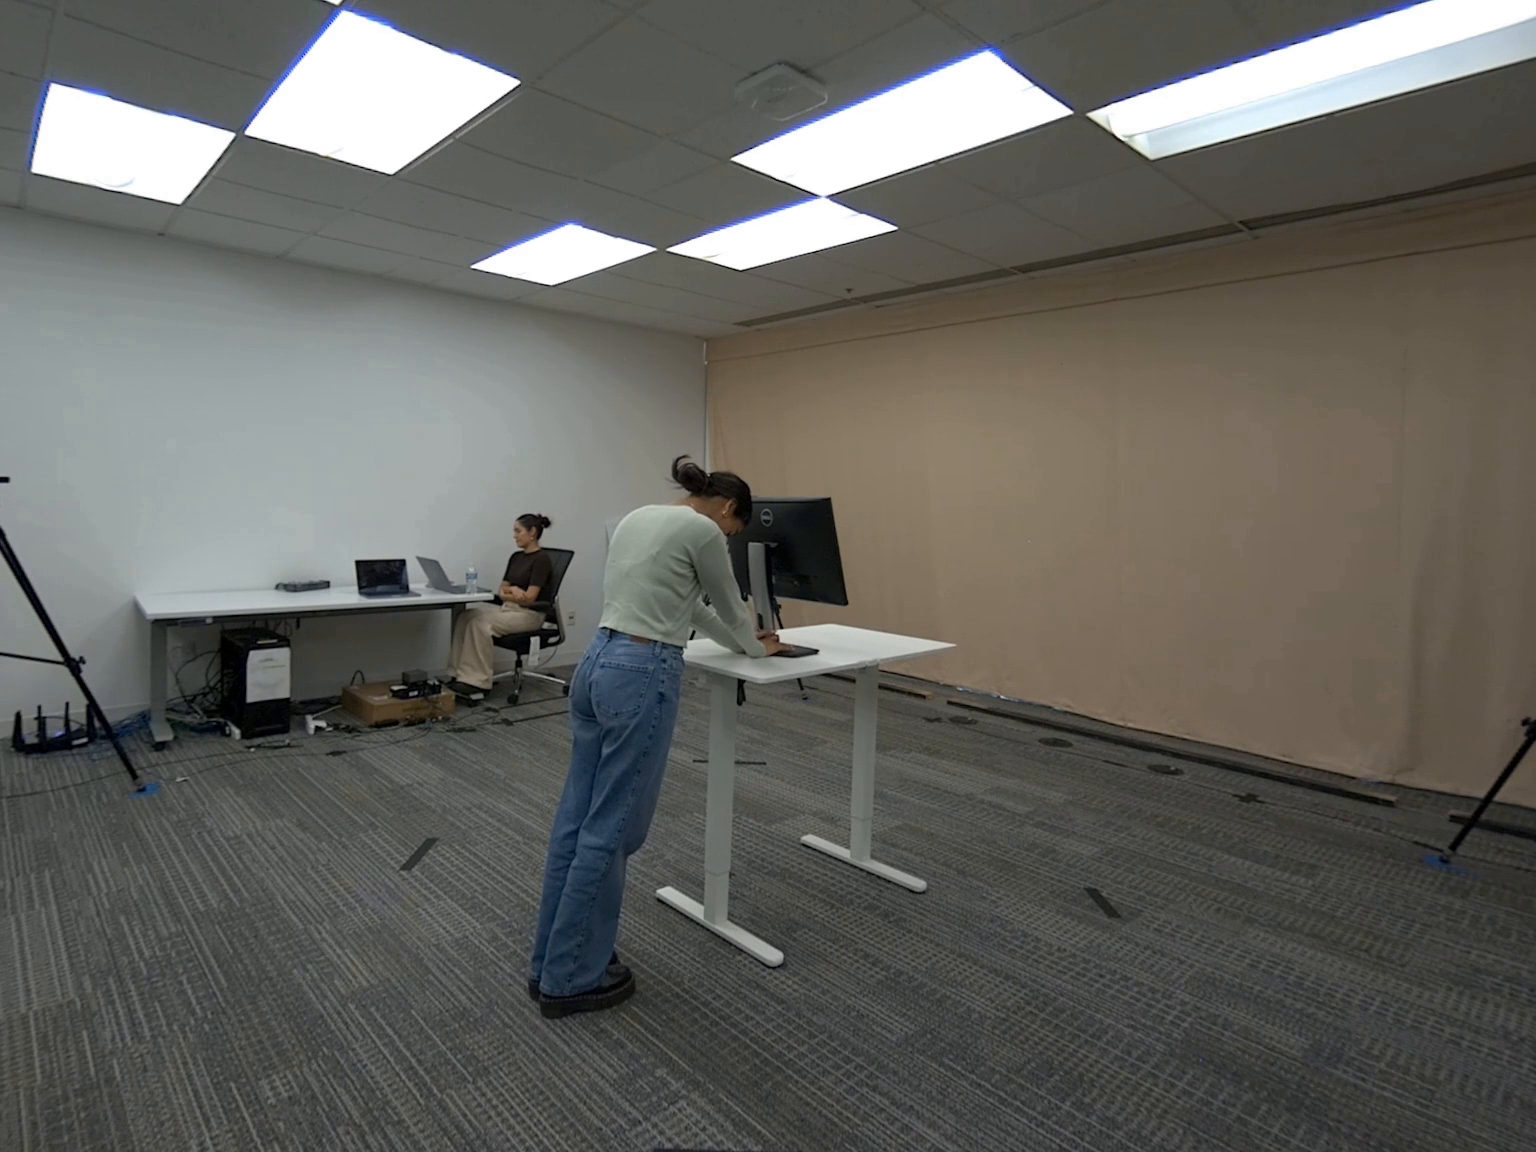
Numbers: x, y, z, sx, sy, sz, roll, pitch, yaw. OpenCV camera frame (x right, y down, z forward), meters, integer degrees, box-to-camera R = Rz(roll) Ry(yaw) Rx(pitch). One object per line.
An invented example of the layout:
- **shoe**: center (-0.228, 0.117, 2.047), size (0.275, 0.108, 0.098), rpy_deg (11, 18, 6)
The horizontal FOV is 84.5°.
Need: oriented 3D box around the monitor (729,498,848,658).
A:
- **monitor**: center (0.015, -0.003, 2.802), size (0.183, 0.521, 0.553), rpy_deg (-1, 5, -41)
